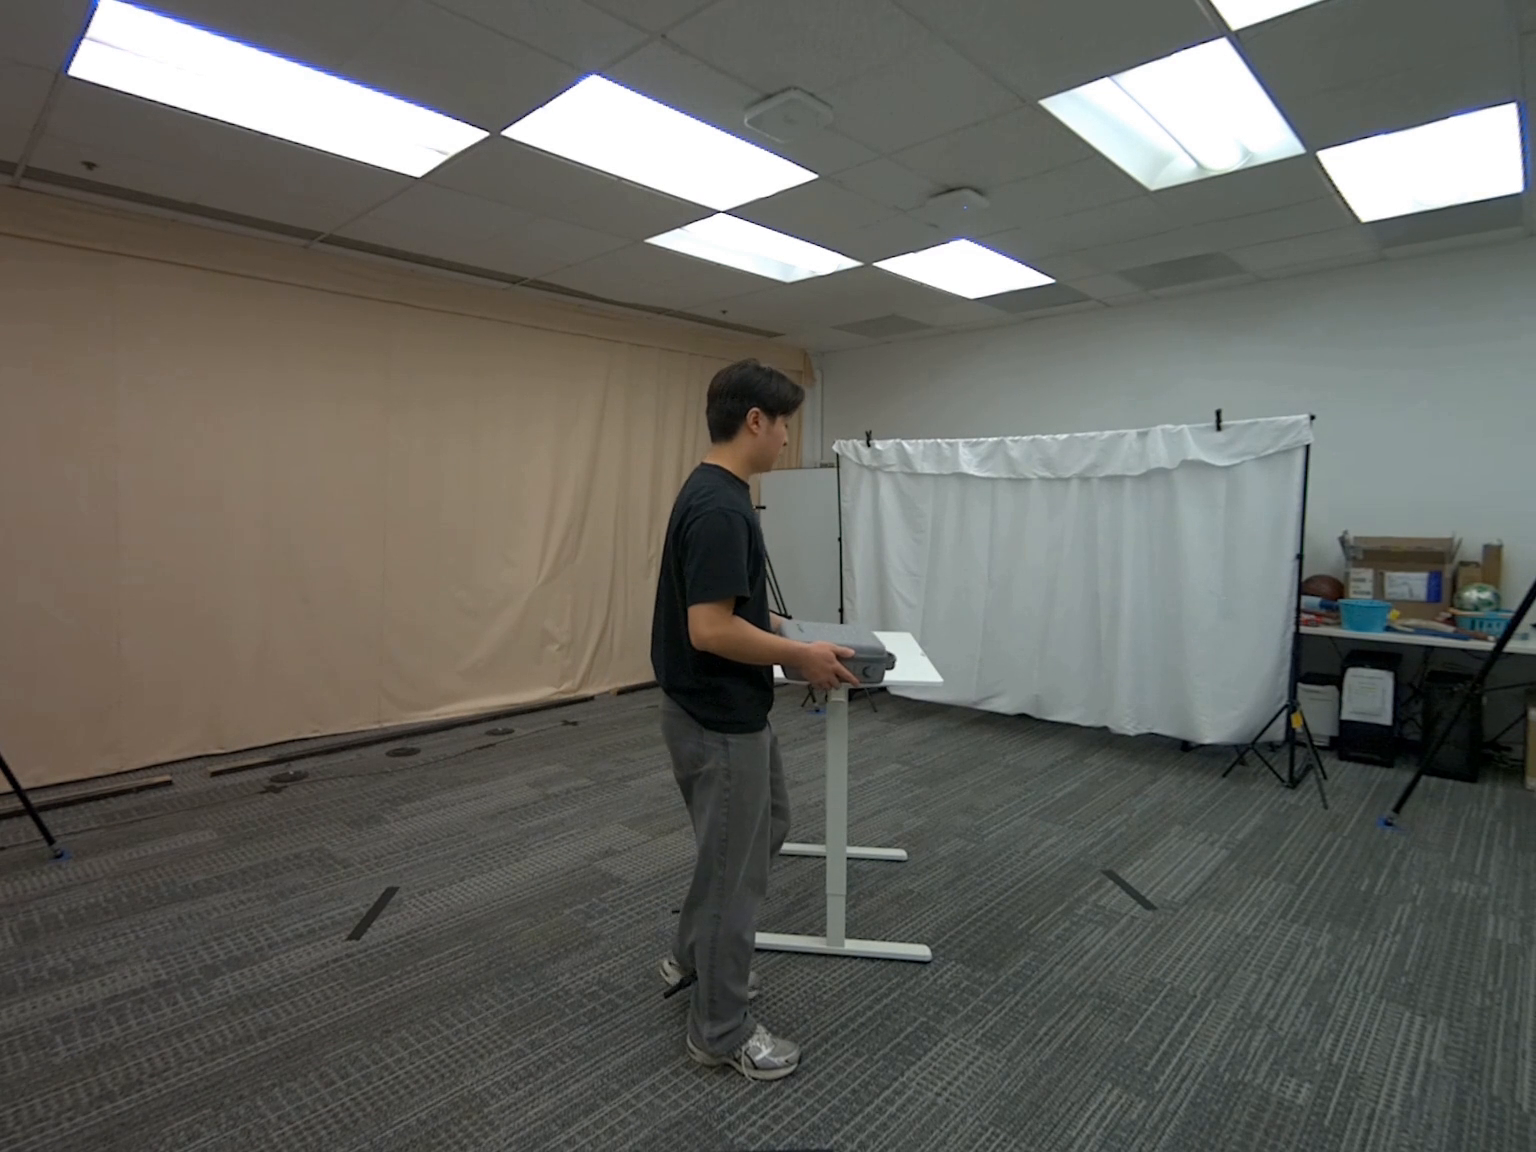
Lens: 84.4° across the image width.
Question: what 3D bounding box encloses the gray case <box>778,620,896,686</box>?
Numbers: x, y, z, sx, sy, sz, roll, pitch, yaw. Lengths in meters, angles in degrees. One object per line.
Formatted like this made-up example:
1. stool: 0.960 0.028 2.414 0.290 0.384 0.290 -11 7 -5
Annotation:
1. gray case: 0.164 0.188 2.132 0.286 0.102 0.266 3 11 -4
